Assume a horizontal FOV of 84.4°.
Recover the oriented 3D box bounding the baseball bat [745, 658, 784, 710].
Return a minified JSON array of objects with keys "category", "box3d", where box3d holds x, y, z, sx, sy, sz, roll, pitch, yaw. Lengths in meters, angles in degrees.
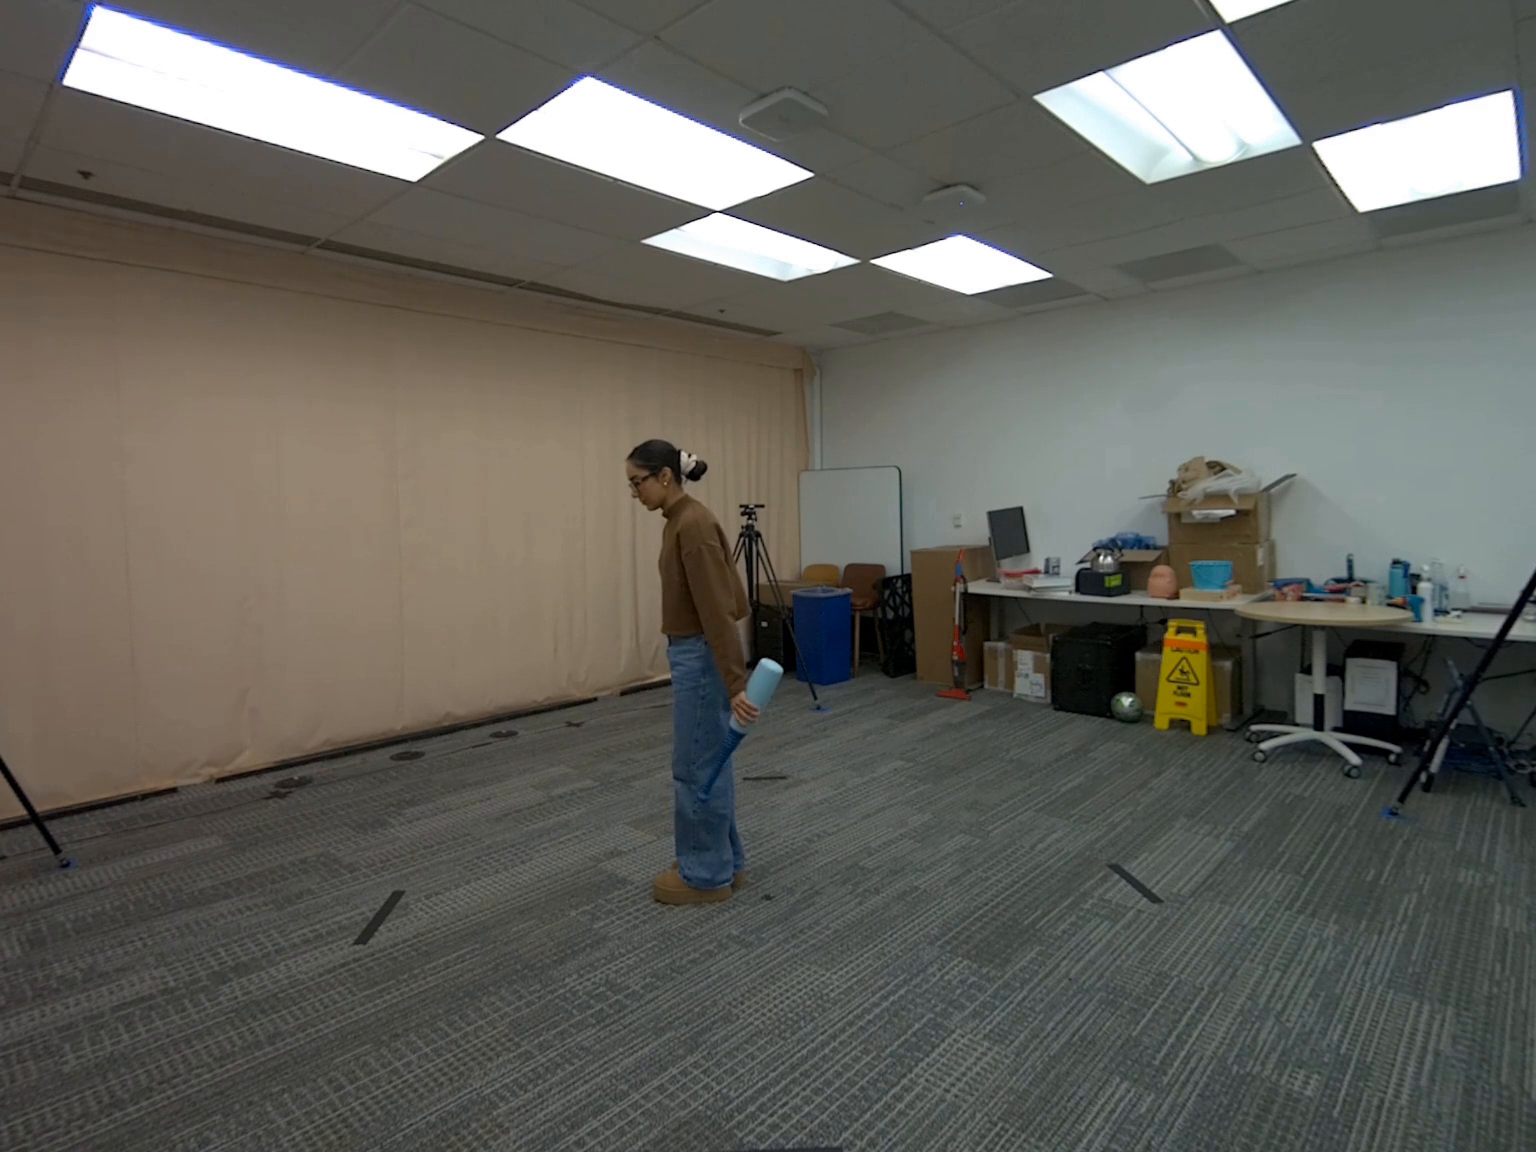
[{"category":"baseball bat","box3d":[-0.114,0.523,2.768,0.088,0.542,0.090,26,13,-8]}]
